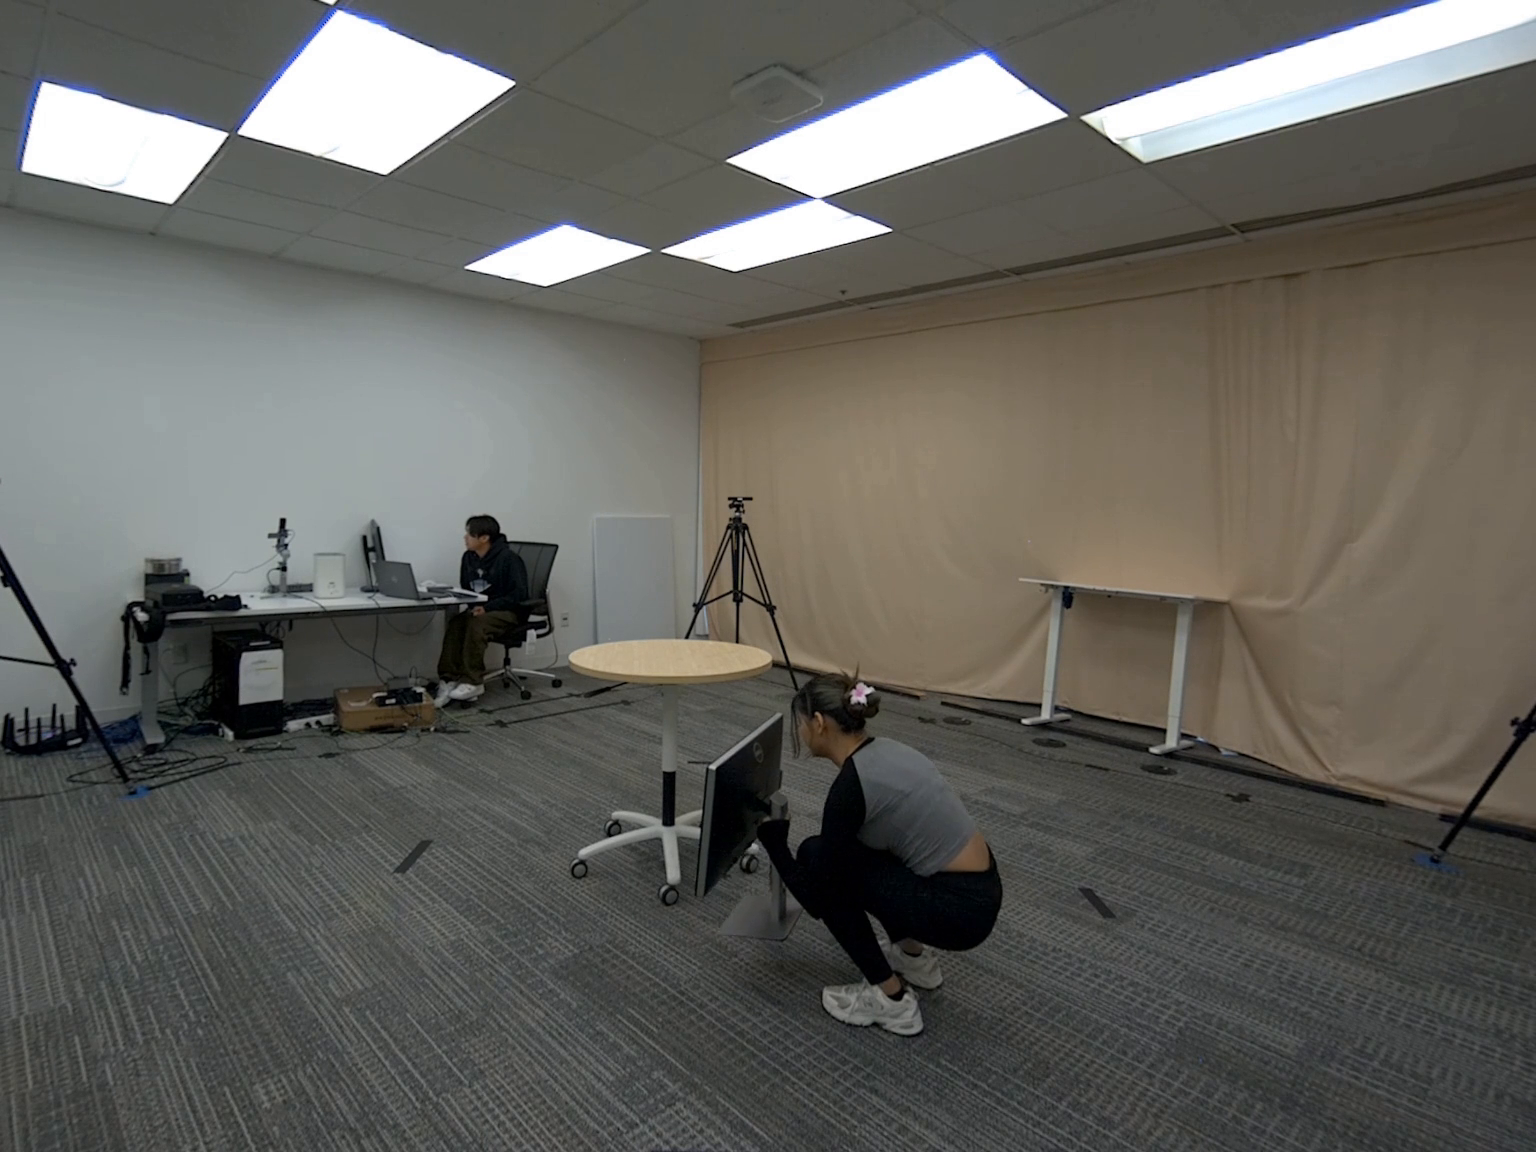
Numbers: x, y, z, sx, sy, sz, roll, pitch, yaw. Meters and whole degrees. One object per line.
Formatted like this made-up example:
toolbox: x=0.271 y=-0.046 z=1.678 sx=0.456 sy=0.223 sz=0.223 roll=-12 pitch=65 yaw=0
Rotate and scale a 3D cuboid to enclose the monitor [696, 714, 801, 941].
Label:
monitor: x=-0.028 y=0.744 z=2.449 sx=0.190 sy=0.521 sz=0.533 roll=-4 pitch=3 yaw=19
